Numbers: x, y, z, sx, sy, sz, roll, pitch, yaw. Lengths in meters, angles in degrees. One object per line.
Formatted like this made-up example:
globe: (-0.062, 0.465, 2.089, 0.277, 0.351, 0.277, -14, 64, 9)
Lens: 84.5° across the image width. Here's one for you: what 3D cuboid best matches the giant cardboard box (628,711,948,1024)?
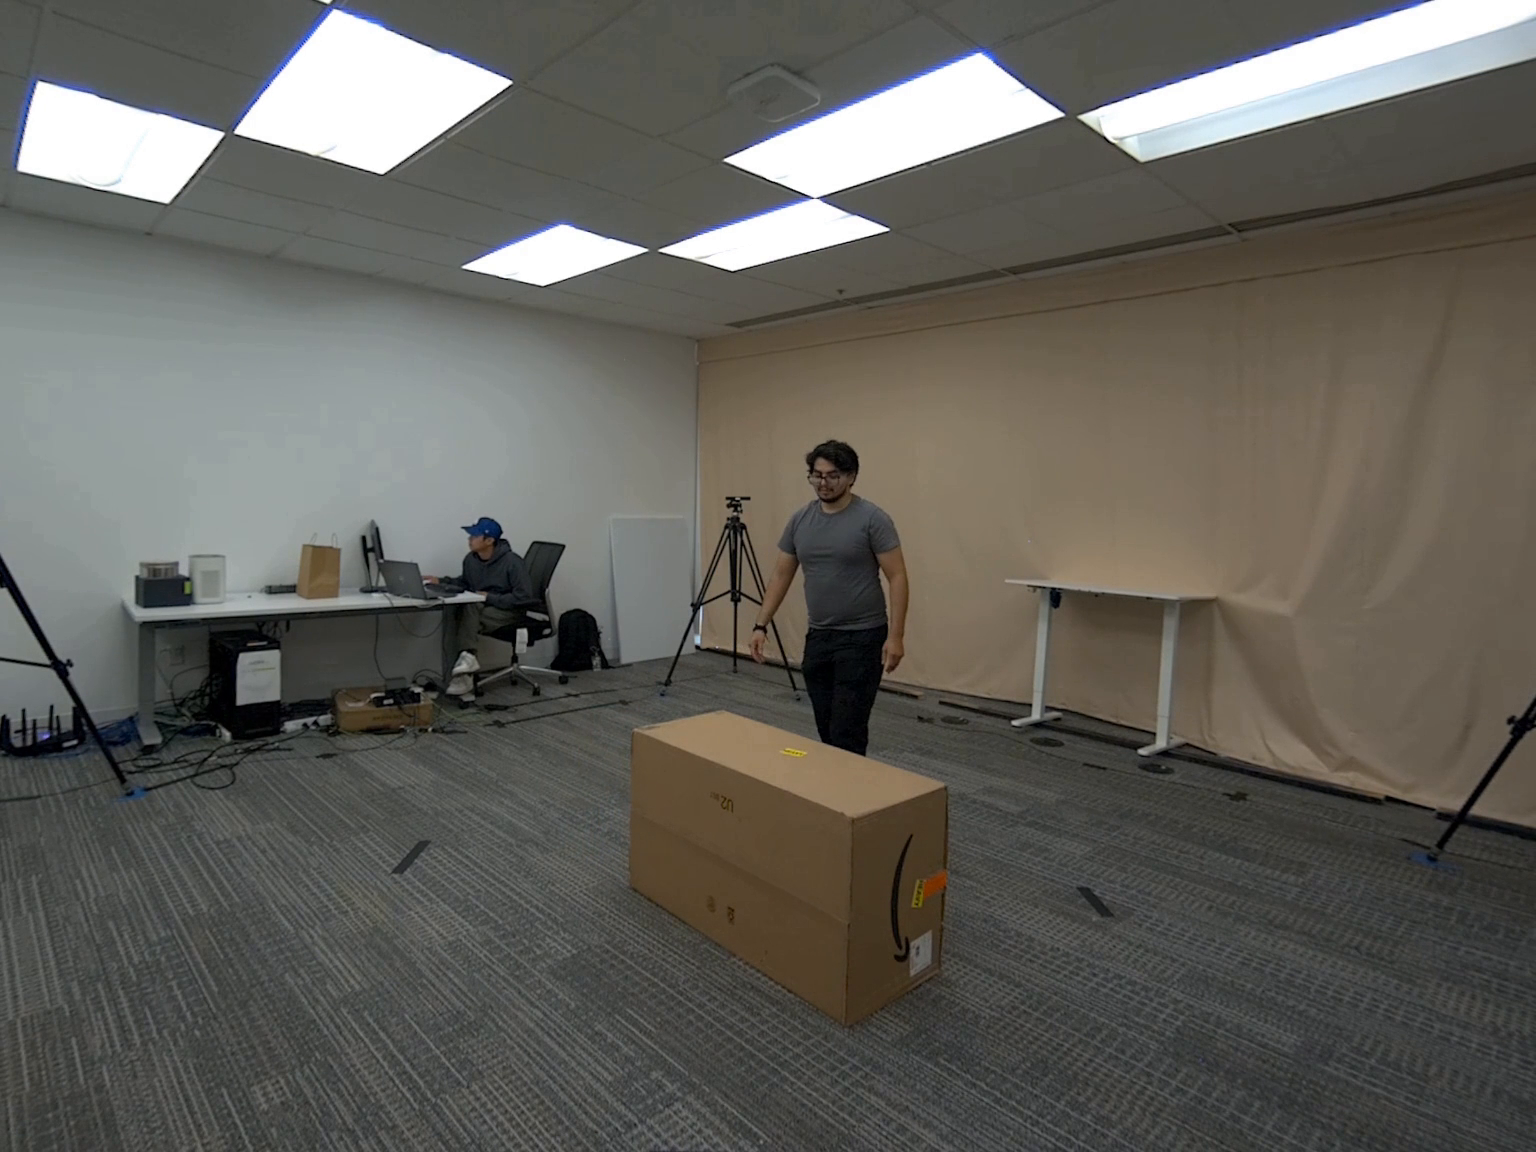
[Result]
giant cardboard box: (0.009, 0.860, 2.723, 0.416, 0.576, 1.052, -2, 6, -41)
